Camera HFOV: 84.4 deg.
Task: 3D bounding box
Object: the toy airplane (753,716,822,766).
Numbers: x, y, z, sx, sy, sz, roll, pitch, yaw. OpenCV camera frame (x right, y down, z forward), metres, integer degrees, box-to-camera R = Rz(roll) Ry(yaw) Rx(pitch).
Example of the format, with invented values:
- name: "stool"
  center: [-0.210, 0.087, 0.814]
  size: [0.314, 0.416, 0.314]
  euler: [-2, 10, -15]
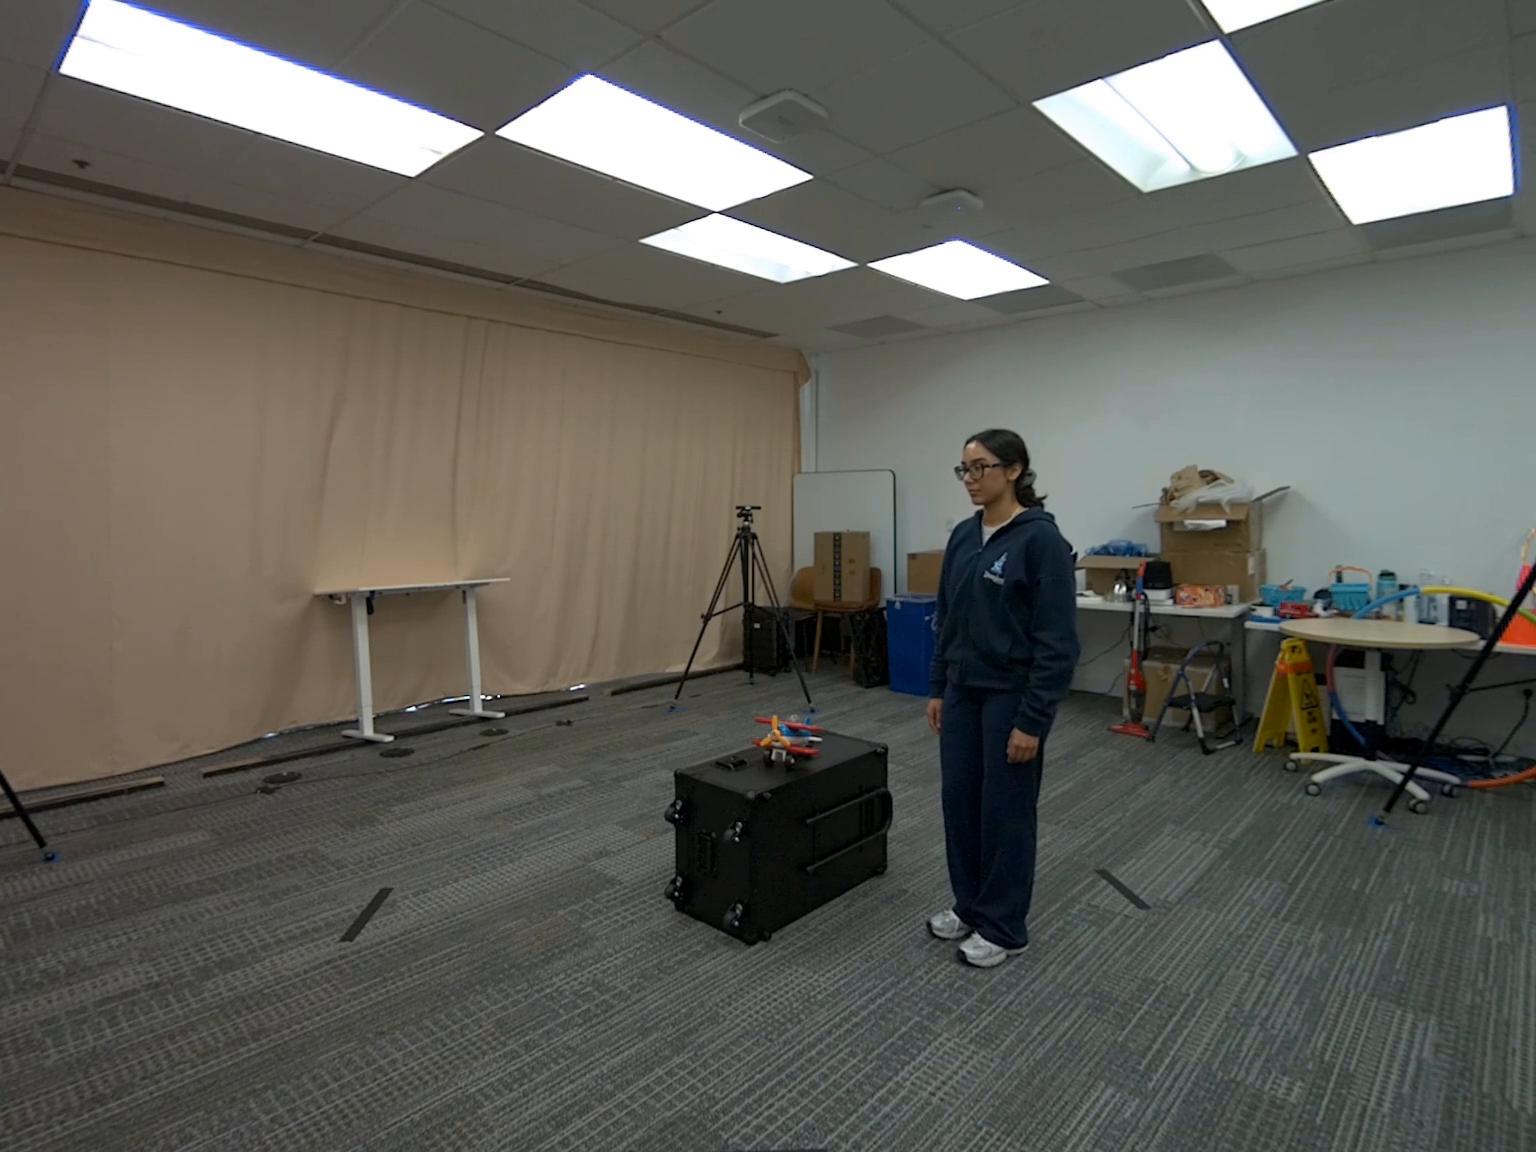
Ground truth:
- name: "toy airplane"
  center: [0.085, 0.577, 3.019]
  size: [0.253, 0.156, 0.258]
  euler: [-1, 5, 7]
